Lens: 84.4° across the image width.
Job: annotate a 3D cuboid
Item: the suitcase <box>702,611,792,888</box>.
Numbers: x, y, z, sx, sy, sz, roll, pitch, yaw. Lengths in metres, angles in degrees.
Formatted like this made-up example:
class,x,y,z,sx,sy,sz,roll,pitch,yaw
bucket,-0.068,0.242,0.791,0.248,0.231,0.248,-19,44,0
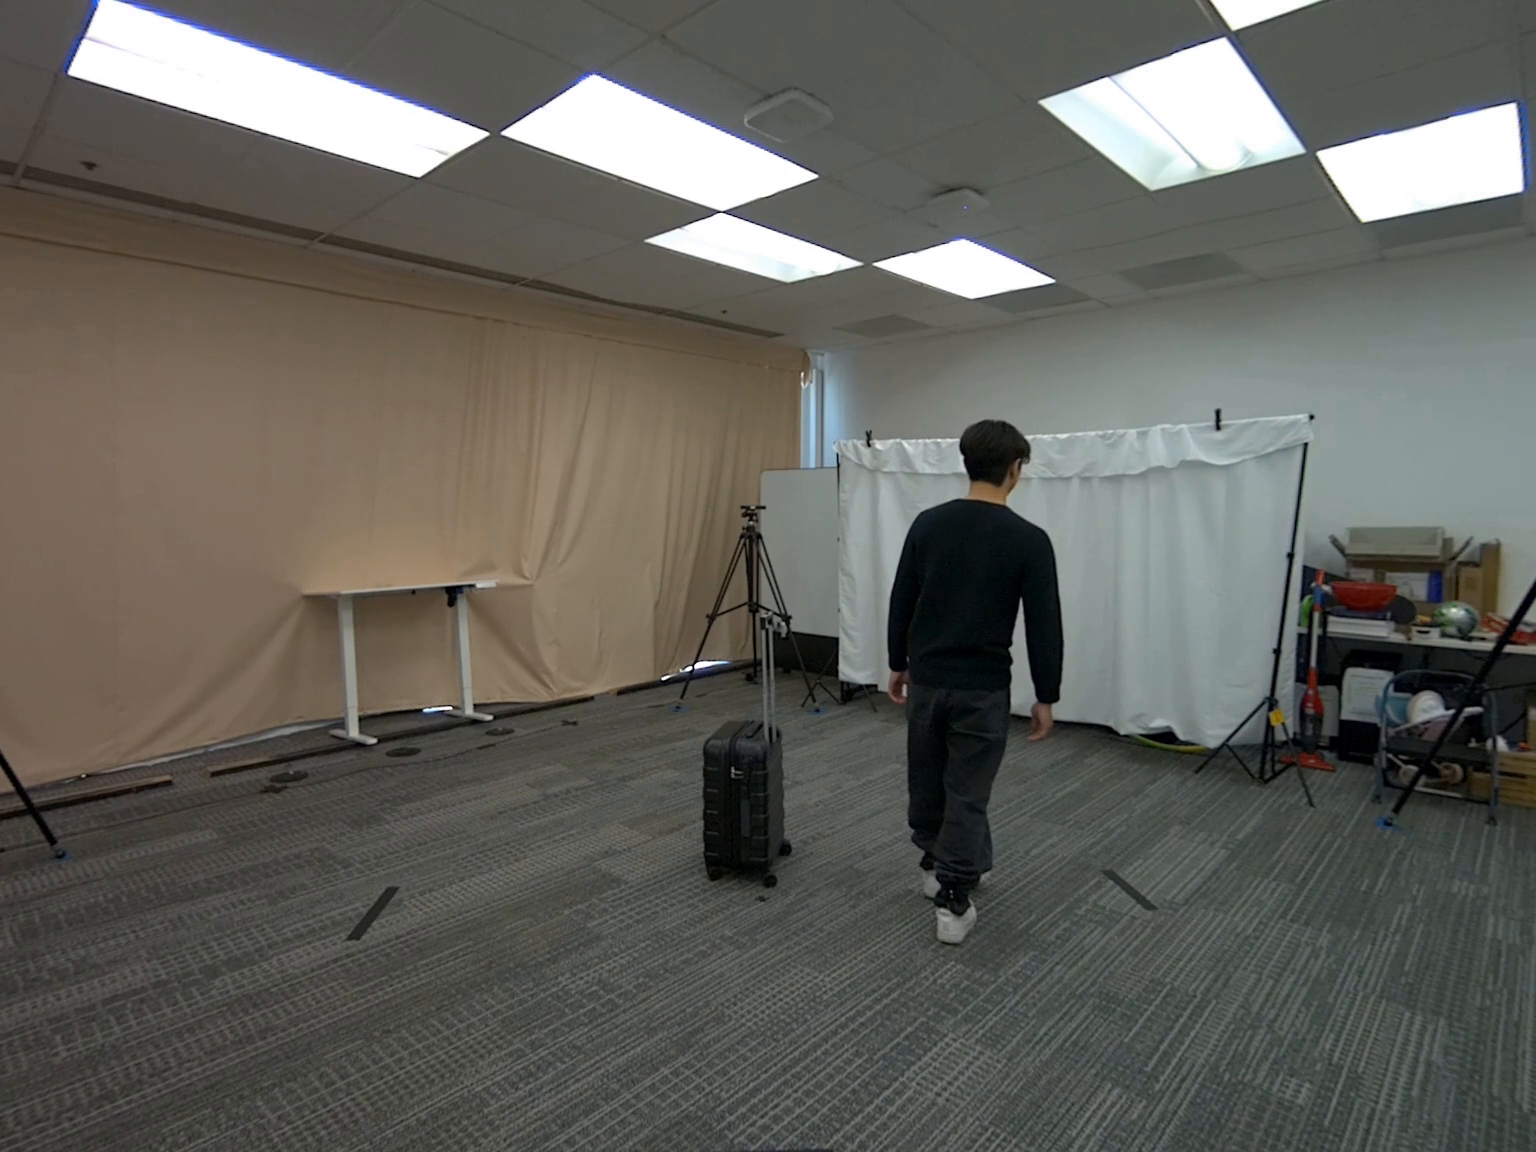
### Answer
class,x,y,z,sx,sy,sz,roll,pitch,yaw
suitcase,-0.096,0.644,3.229,0.261,0.977,0.378,-2,2,14
